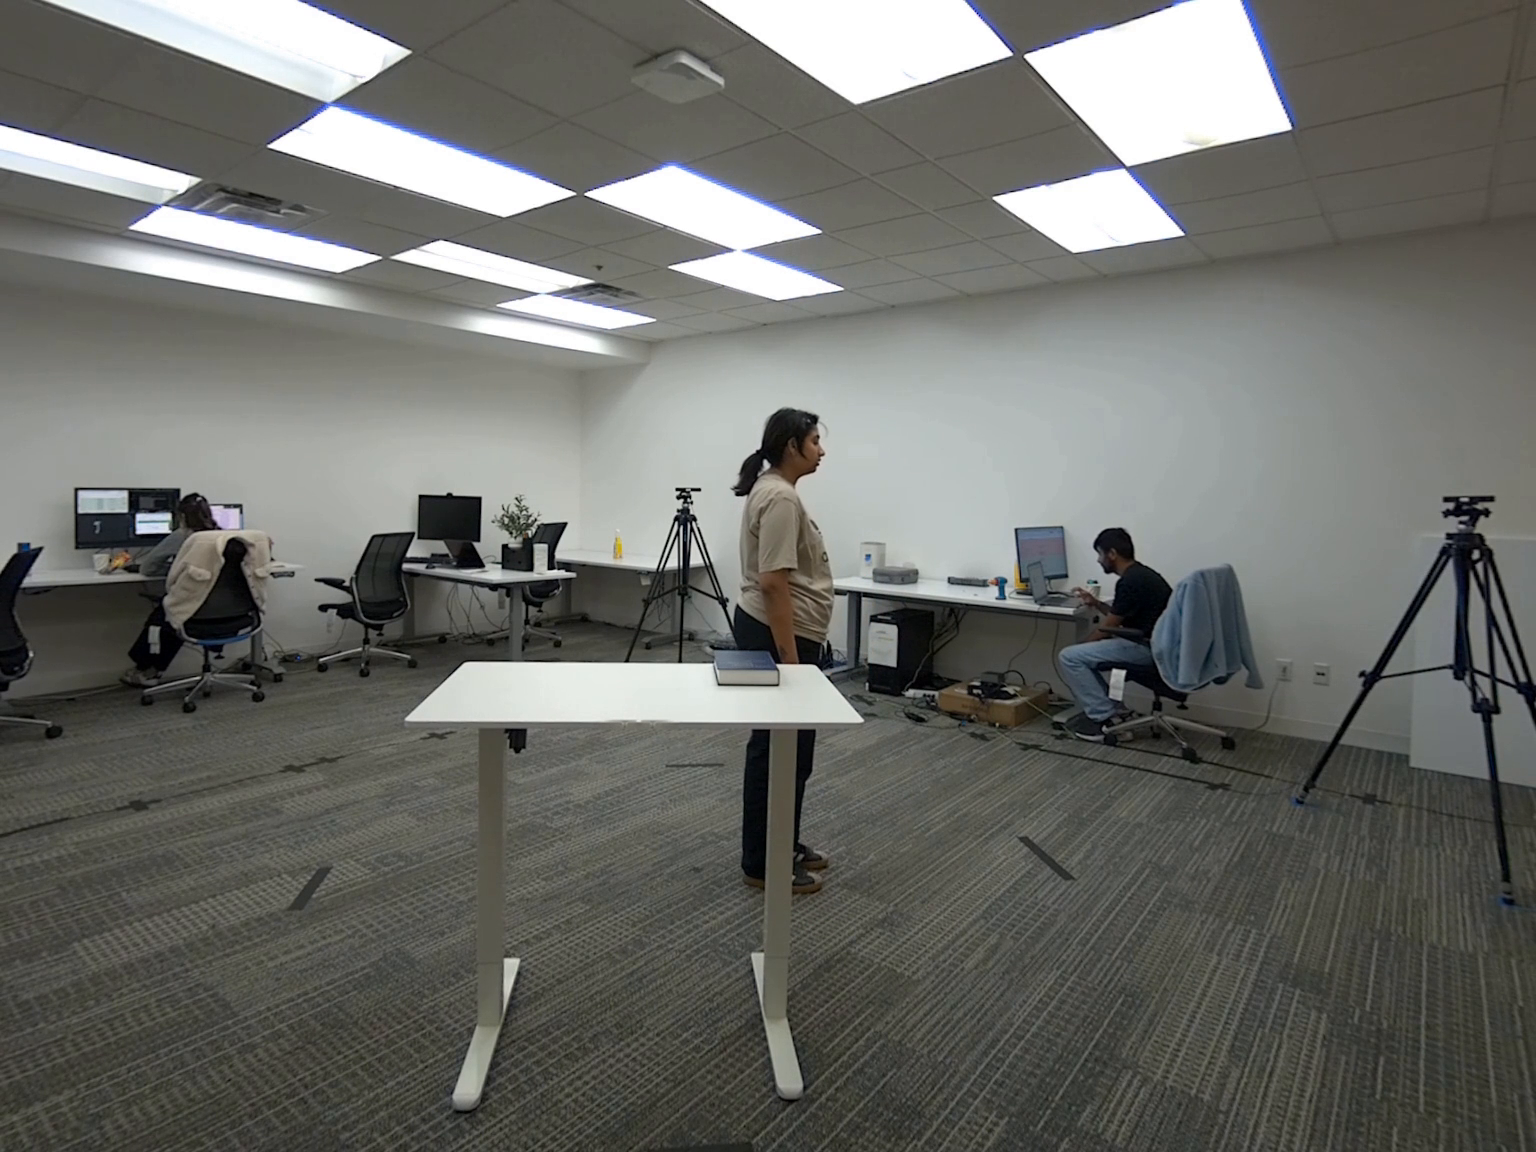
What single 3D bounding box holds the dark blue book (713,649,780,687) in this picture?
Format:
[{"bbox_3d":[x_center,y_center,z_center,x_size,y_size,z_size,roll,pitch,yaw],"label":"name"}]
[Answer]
[{"bbox_3d":[-0.061,0.249,2.307,0.163,0.045,0.247,0,6,-5],"label":"dark blue book"}]
